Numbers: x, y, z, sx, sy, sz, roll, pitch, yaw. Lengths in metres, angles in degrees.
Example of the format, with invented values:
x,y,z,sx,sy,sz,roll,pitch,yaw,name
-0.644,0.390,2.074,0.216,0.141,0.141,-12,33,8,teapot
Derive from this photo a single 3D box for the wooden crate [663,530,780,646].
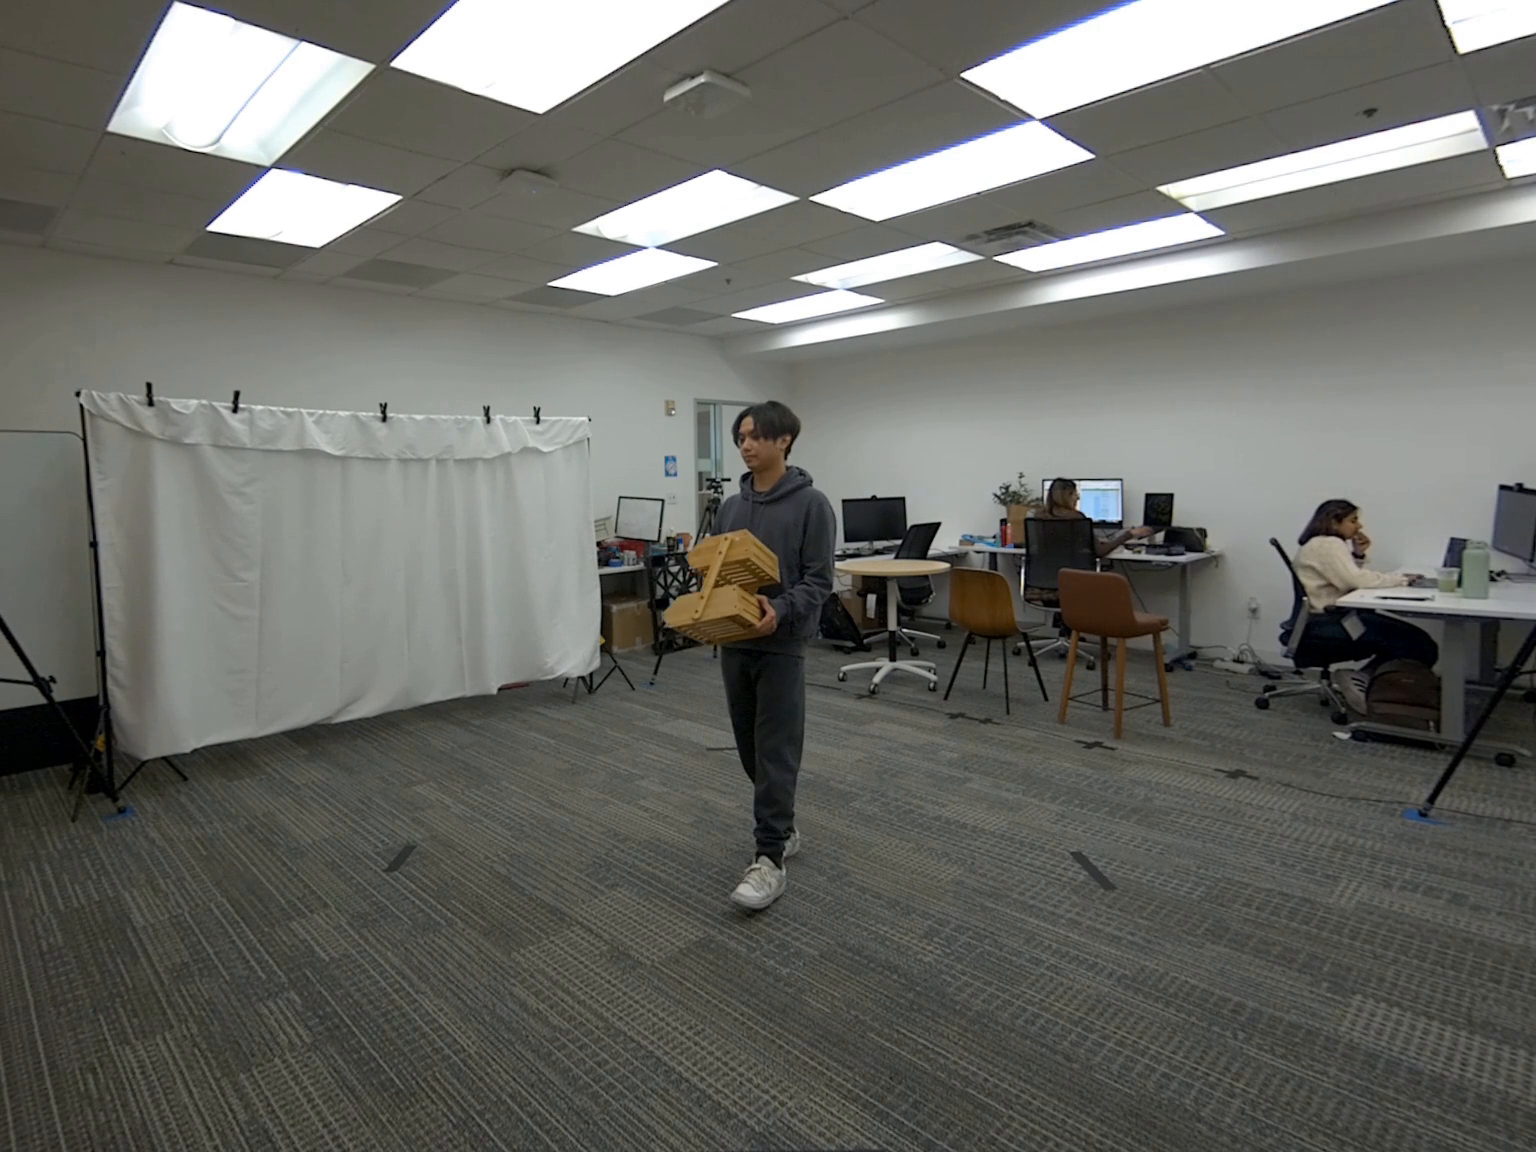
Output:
x,y,z,sx,sy,sz,roll,pitch,yaw,name
-0.155,0.047,2.734,0.305,0.279,0.314,-13,-21,15,wooden crate
